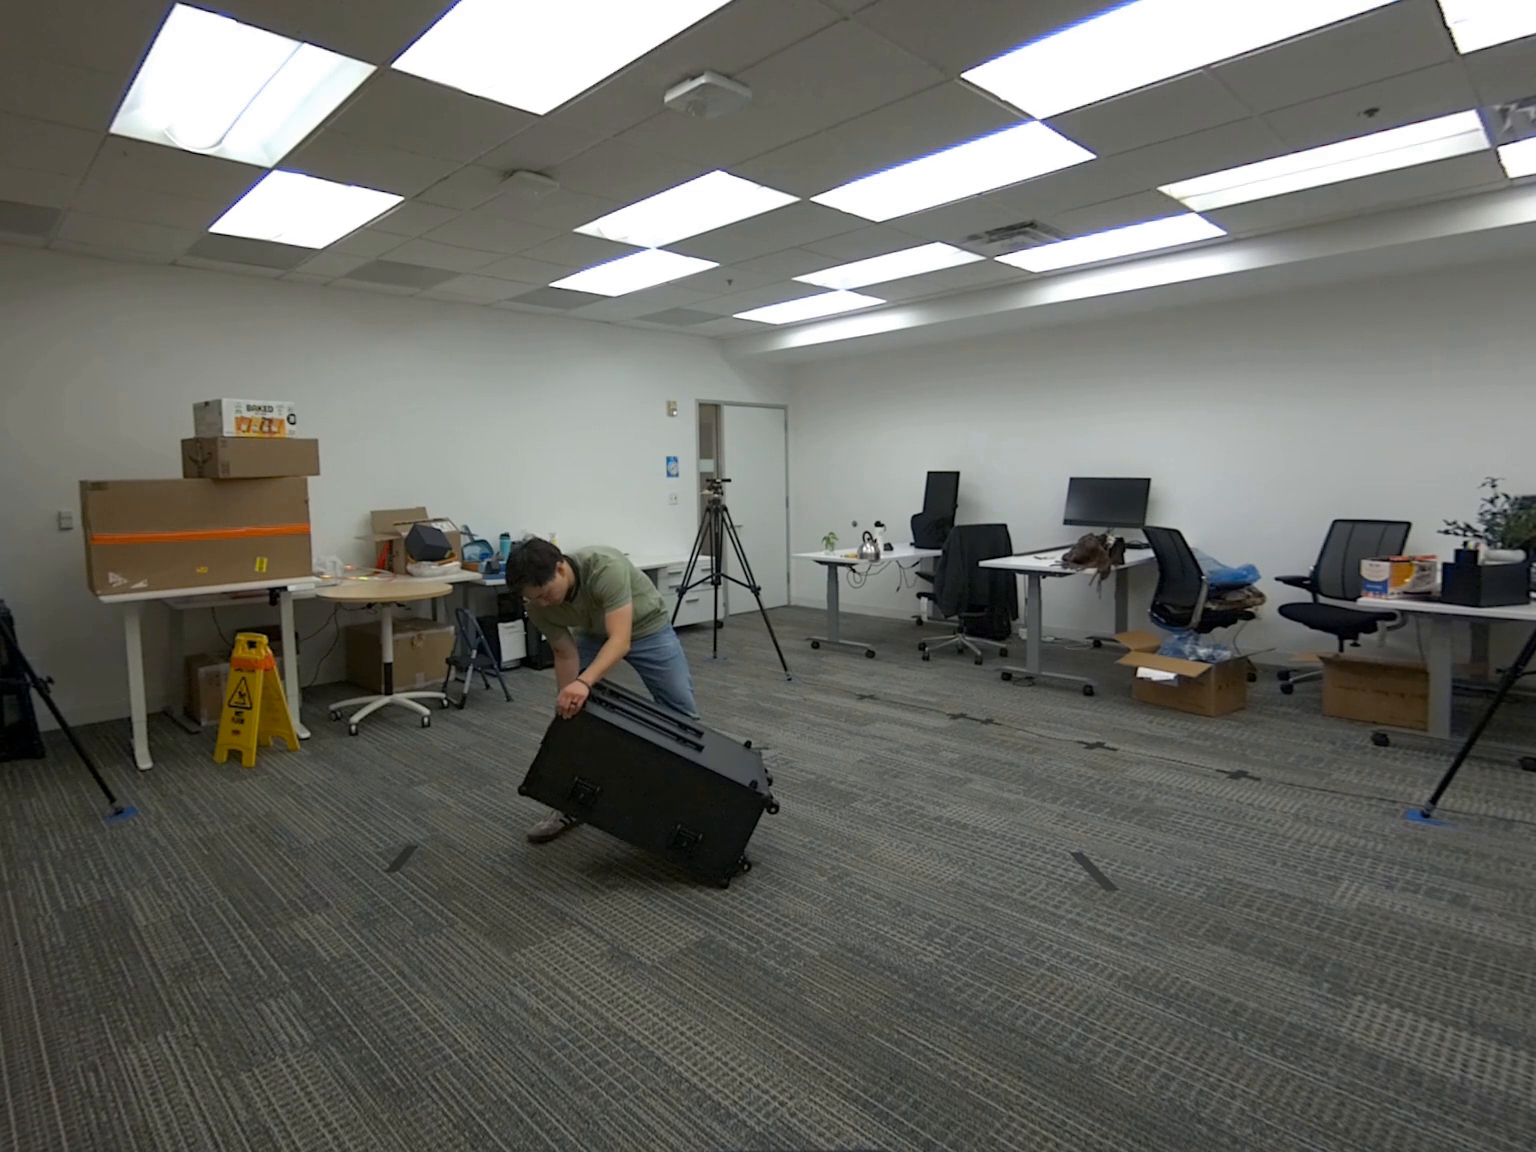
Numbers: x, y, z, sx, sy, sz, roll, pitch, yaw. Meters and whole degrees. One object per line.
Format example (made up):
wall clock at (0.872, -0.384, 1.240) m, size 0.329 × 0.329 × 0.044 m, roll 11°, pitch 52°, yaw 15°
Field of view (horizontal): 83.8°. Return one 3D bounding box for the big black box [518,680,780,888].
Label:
big black box at (-0.395, 0.715, 3.128) m, size 0.860 × 0.396 × 0.523 m, roll 27°, pitch 3°, yaw -2°
